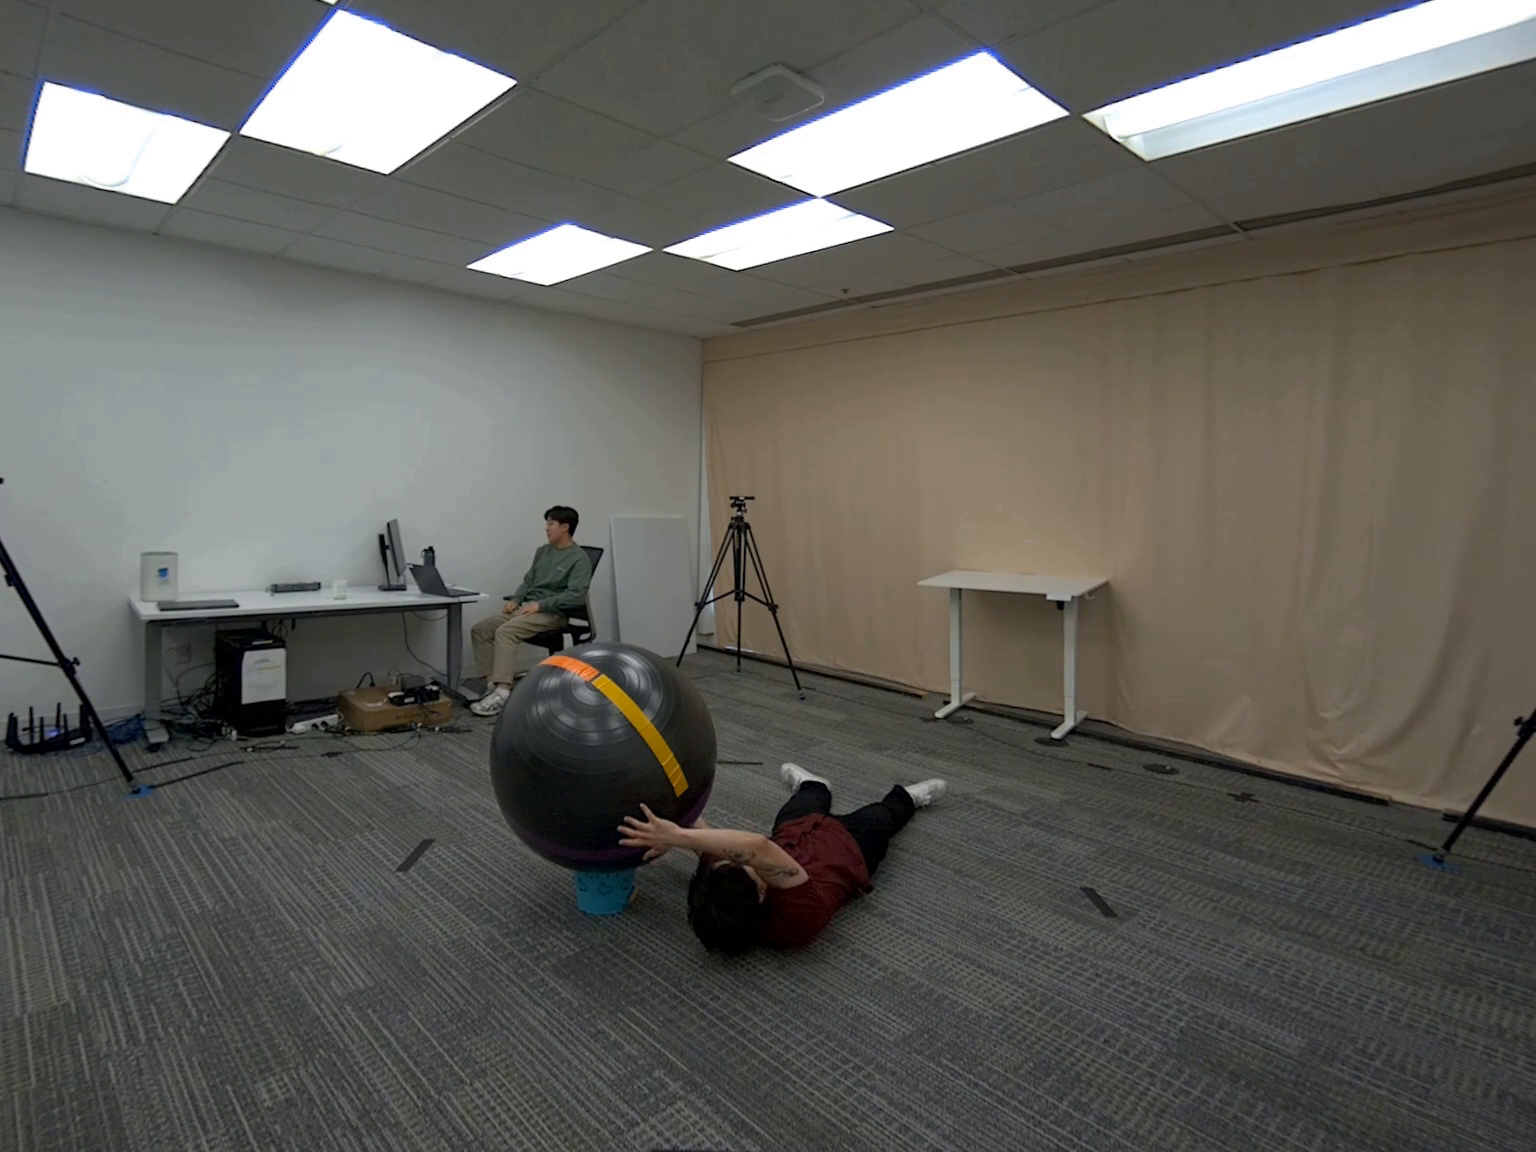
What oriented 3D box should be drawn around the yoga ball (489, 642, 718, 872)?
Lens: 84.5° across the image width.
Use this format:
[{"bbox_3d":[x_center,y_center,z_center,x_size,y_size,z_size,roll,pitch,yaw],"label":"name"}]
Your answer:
[{"bbox_3d":[-0.557,0.607,2.862,0.757,0.756,0.761,1,4,-1],"label":"yoga ball"}]
